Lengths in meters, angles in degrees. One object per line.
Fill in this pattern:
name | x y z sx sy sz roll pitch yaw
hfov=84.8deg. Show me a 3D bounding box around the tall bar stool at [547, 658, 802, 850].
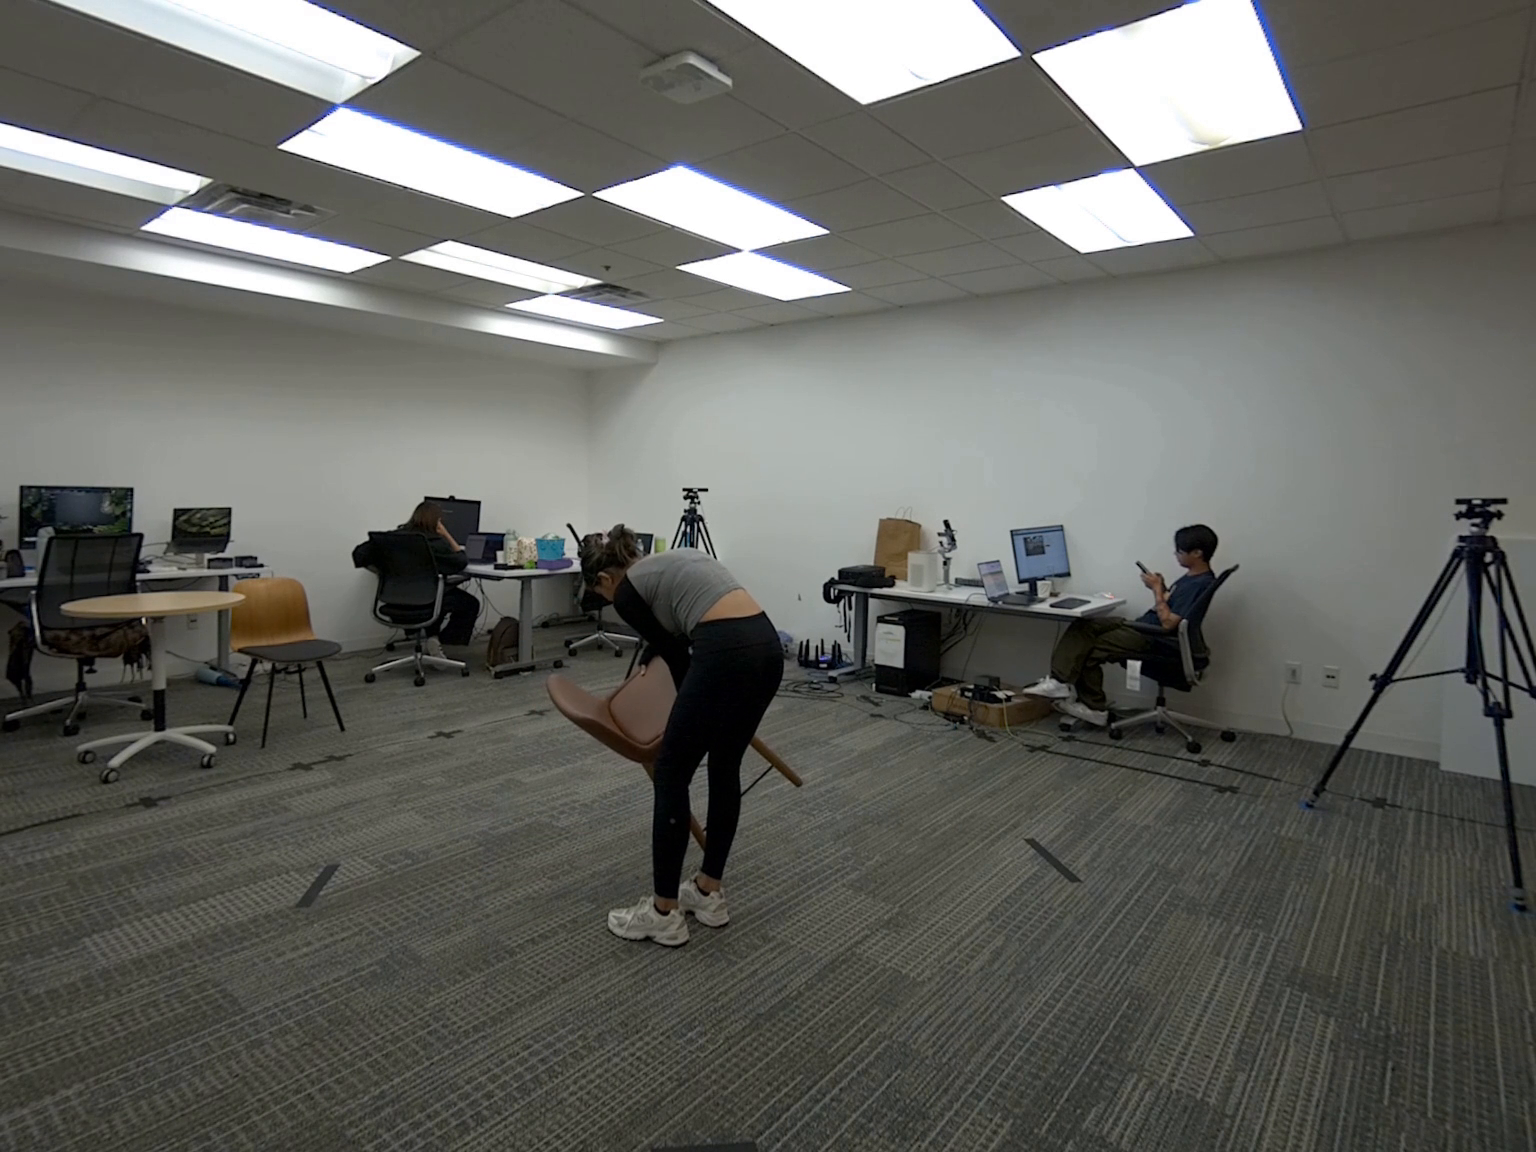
tall bar stool | -0.352 0.578 3.144 0.467 0.859 0.473 -43 29 -12
